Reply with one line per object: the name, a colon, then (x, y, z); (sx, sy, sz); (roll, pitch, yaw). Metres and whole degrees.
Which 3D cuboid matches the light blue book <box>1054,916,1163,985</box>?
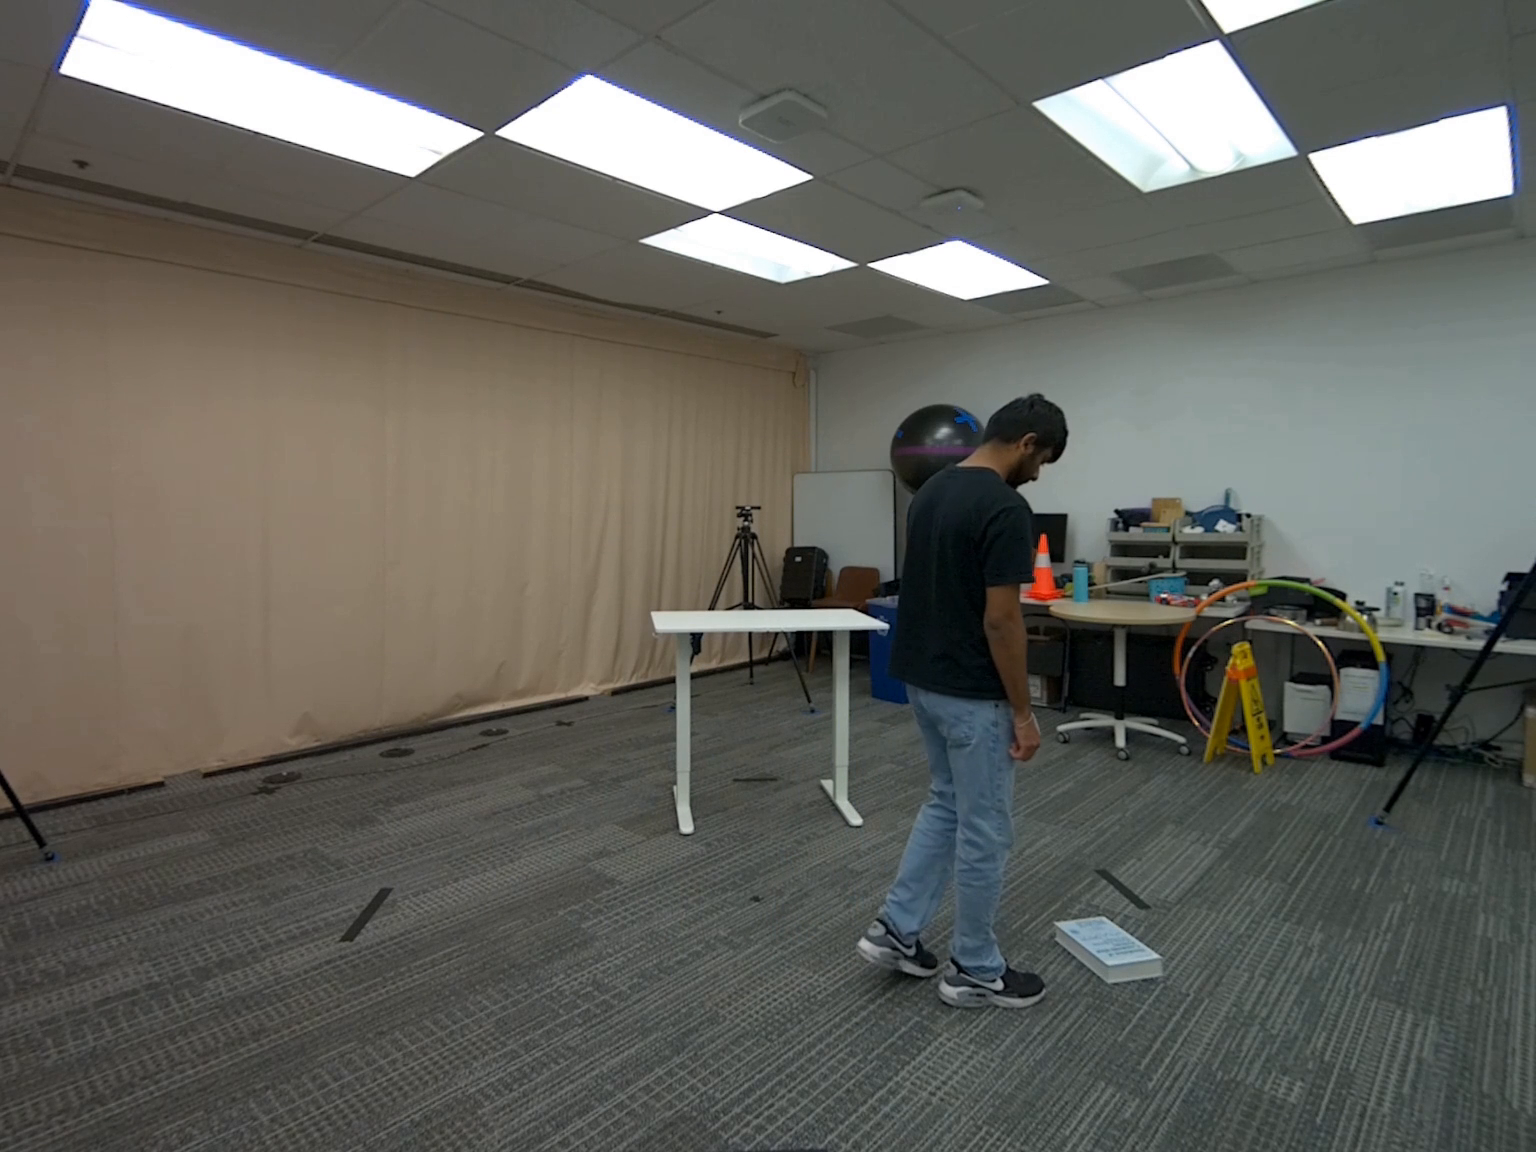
light blue book: (1.053, 1.151, 2.575); (0.188, 0.059, 0.265); (-2, 4, -15)
